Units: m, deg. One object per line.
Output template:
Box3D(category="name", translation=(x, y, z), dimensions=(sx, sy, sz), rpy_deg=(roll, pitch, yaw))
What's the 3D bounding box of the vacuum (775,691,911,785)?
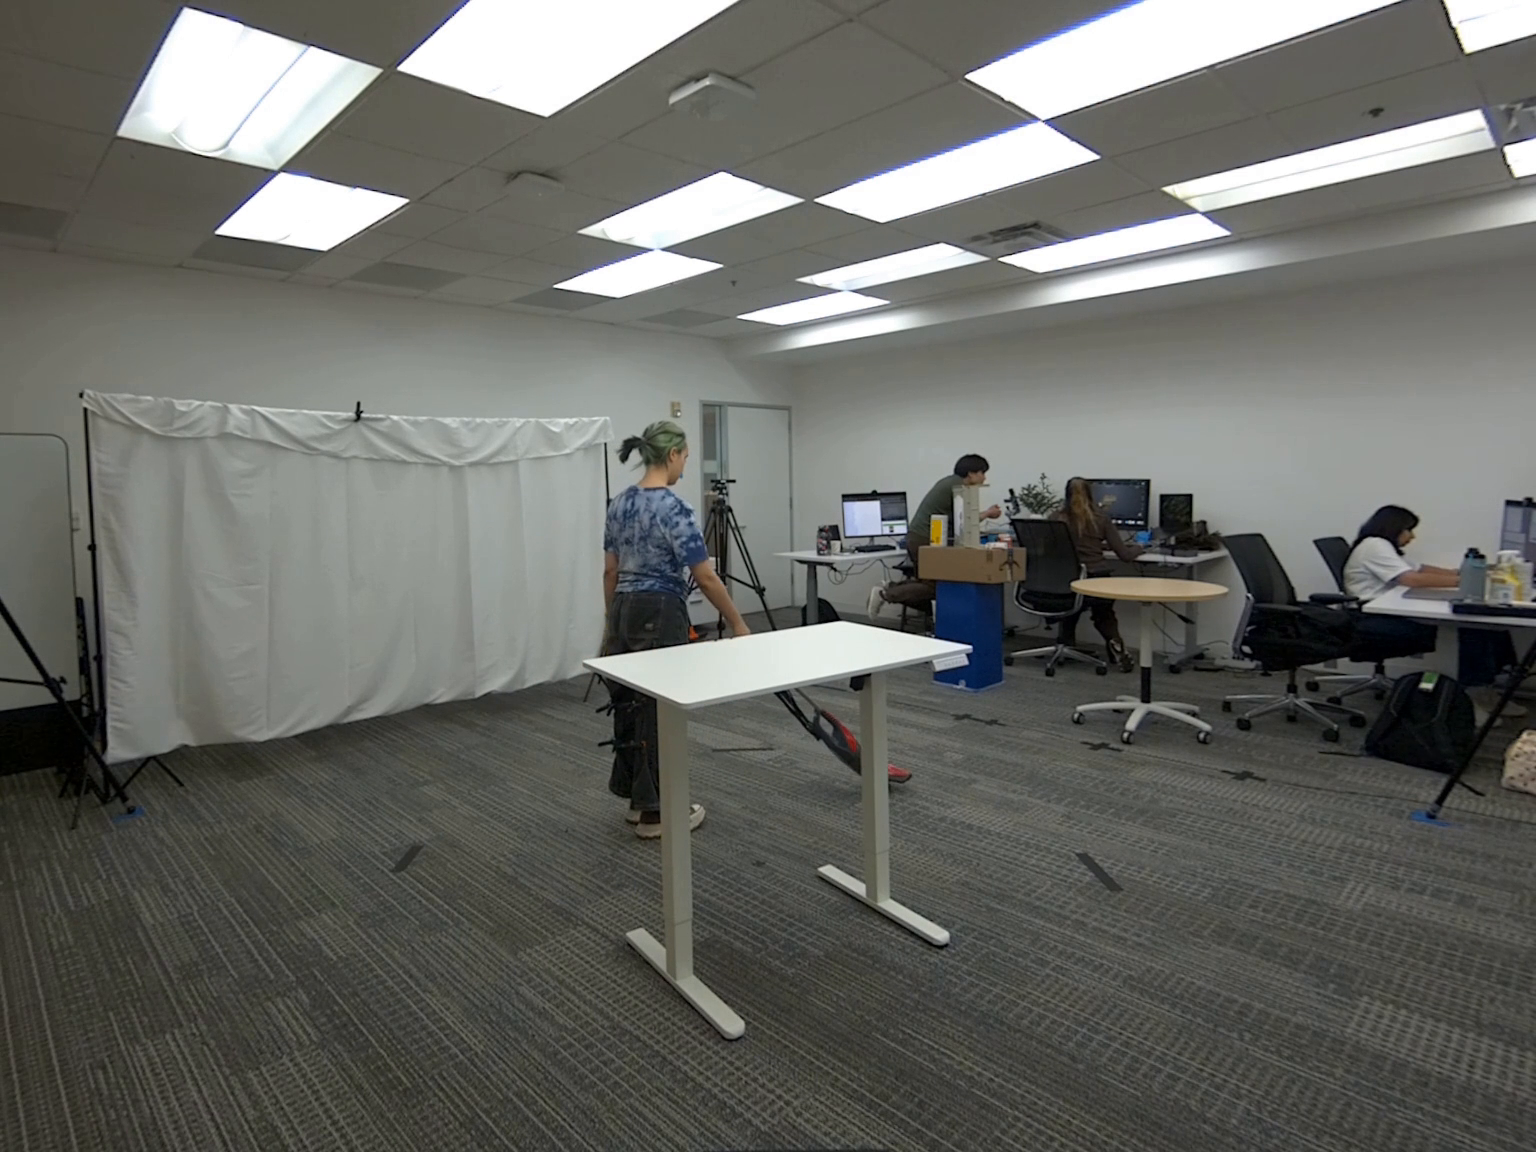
Box3D(category="vacuum", translation=(0.197, 0.612, 3.651), dimensions=(1.017, 0.145, 0.259), rpy_deg=(41, -21, -26))
